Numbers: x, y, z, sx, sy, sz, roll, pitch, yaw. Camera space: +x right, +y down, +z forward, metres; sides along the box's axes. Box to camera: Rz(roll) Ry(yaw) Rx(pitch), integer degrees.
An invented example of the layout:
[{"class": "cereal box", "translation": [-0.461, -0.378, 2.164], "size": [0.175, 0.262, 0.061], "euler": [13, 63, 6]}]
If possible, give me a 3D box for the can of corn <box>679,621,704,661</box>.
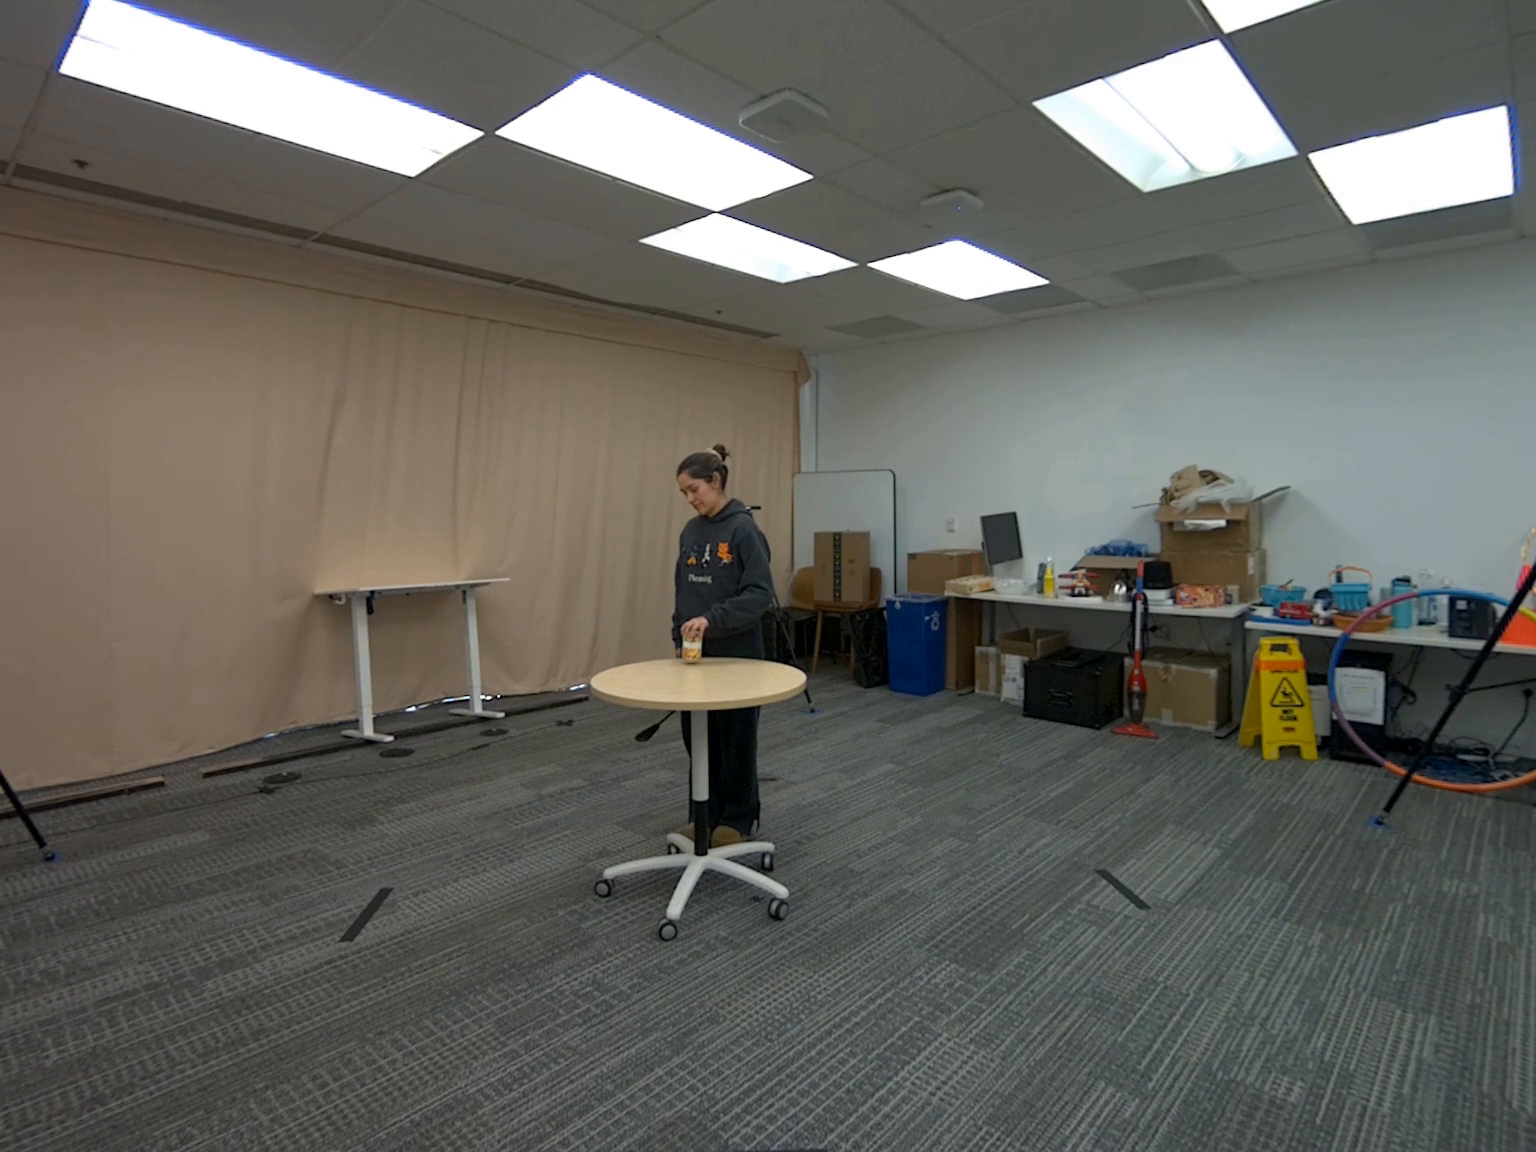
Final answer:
[{"class": "can of corn", "translation": [-0.278, 0.266, 3.252], "size": [0.074, 0.111, 0.074], "euler": [3, 2, -2]}]
